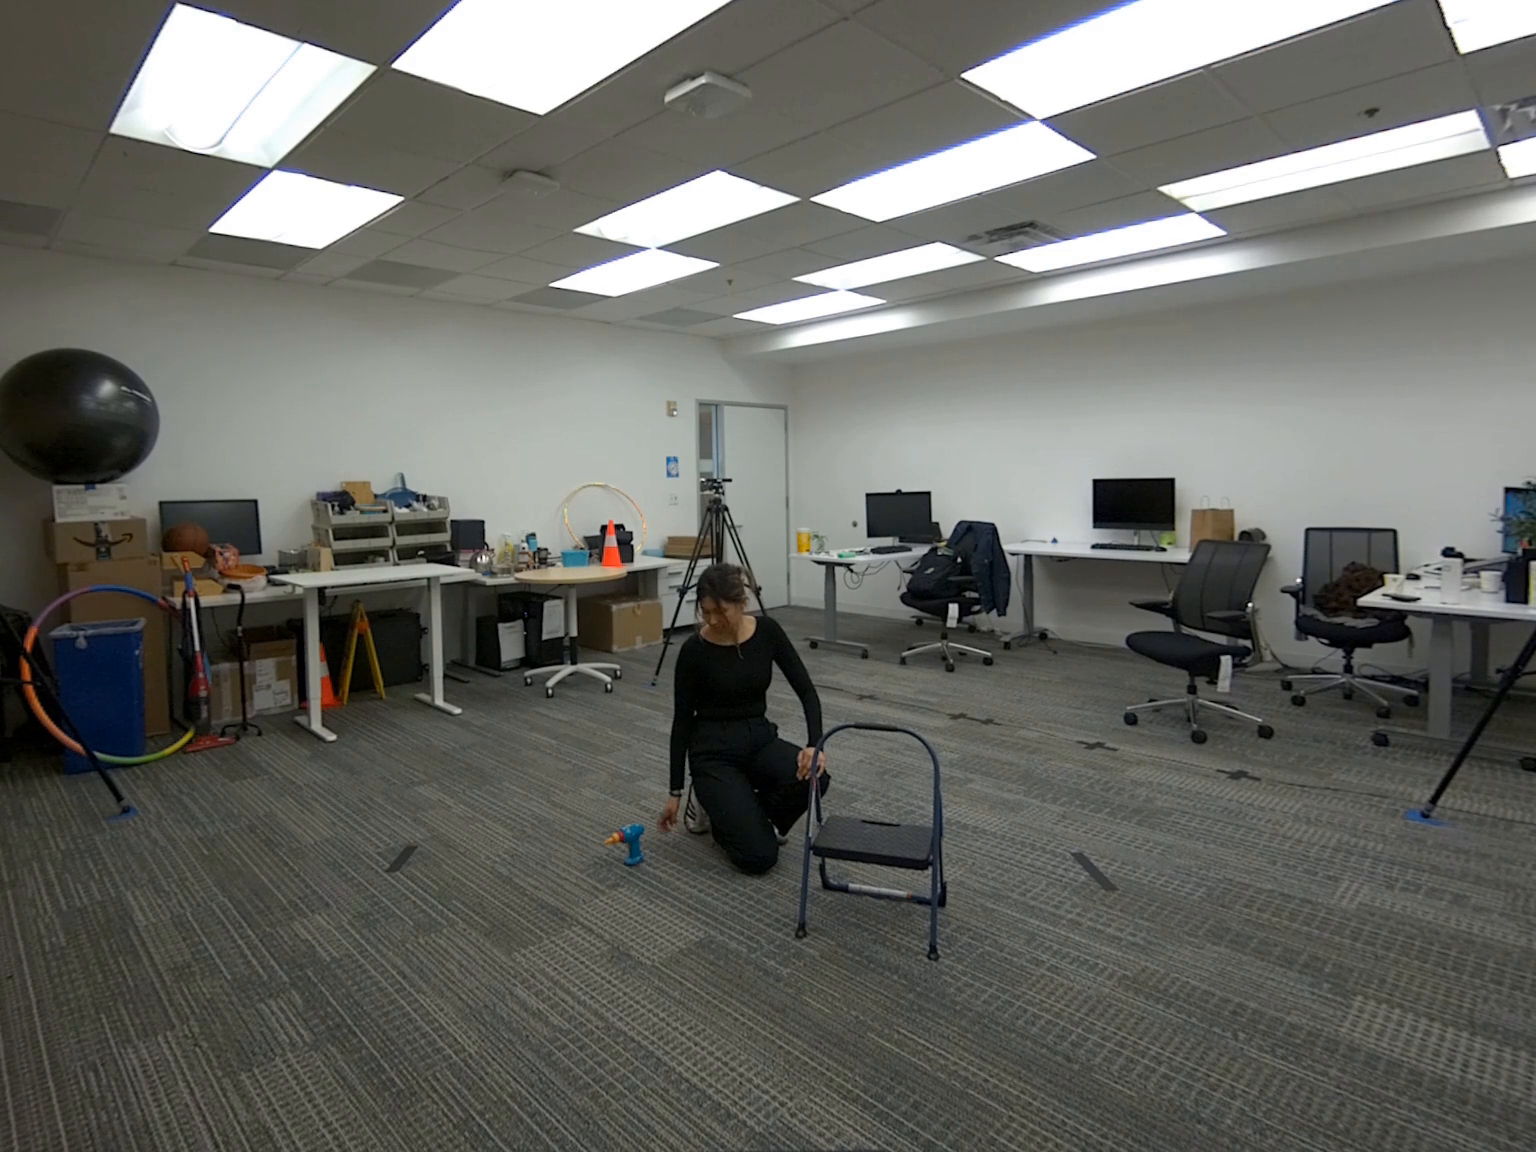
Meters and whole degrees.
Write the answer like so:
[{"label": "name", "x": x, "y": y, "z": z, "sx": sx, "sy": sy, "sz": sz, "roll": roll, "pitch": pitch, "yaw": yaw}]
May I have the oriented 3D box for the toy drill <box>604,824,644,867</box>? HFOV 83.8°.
[{"label": "toy drill", "x": -0.513, "y": 0.980, "z": 3.104, "sx": 0.165, "sy": 0.145, "sz": 0.063, "roll": -8, "pitch": 9, "yaw": -40}]
